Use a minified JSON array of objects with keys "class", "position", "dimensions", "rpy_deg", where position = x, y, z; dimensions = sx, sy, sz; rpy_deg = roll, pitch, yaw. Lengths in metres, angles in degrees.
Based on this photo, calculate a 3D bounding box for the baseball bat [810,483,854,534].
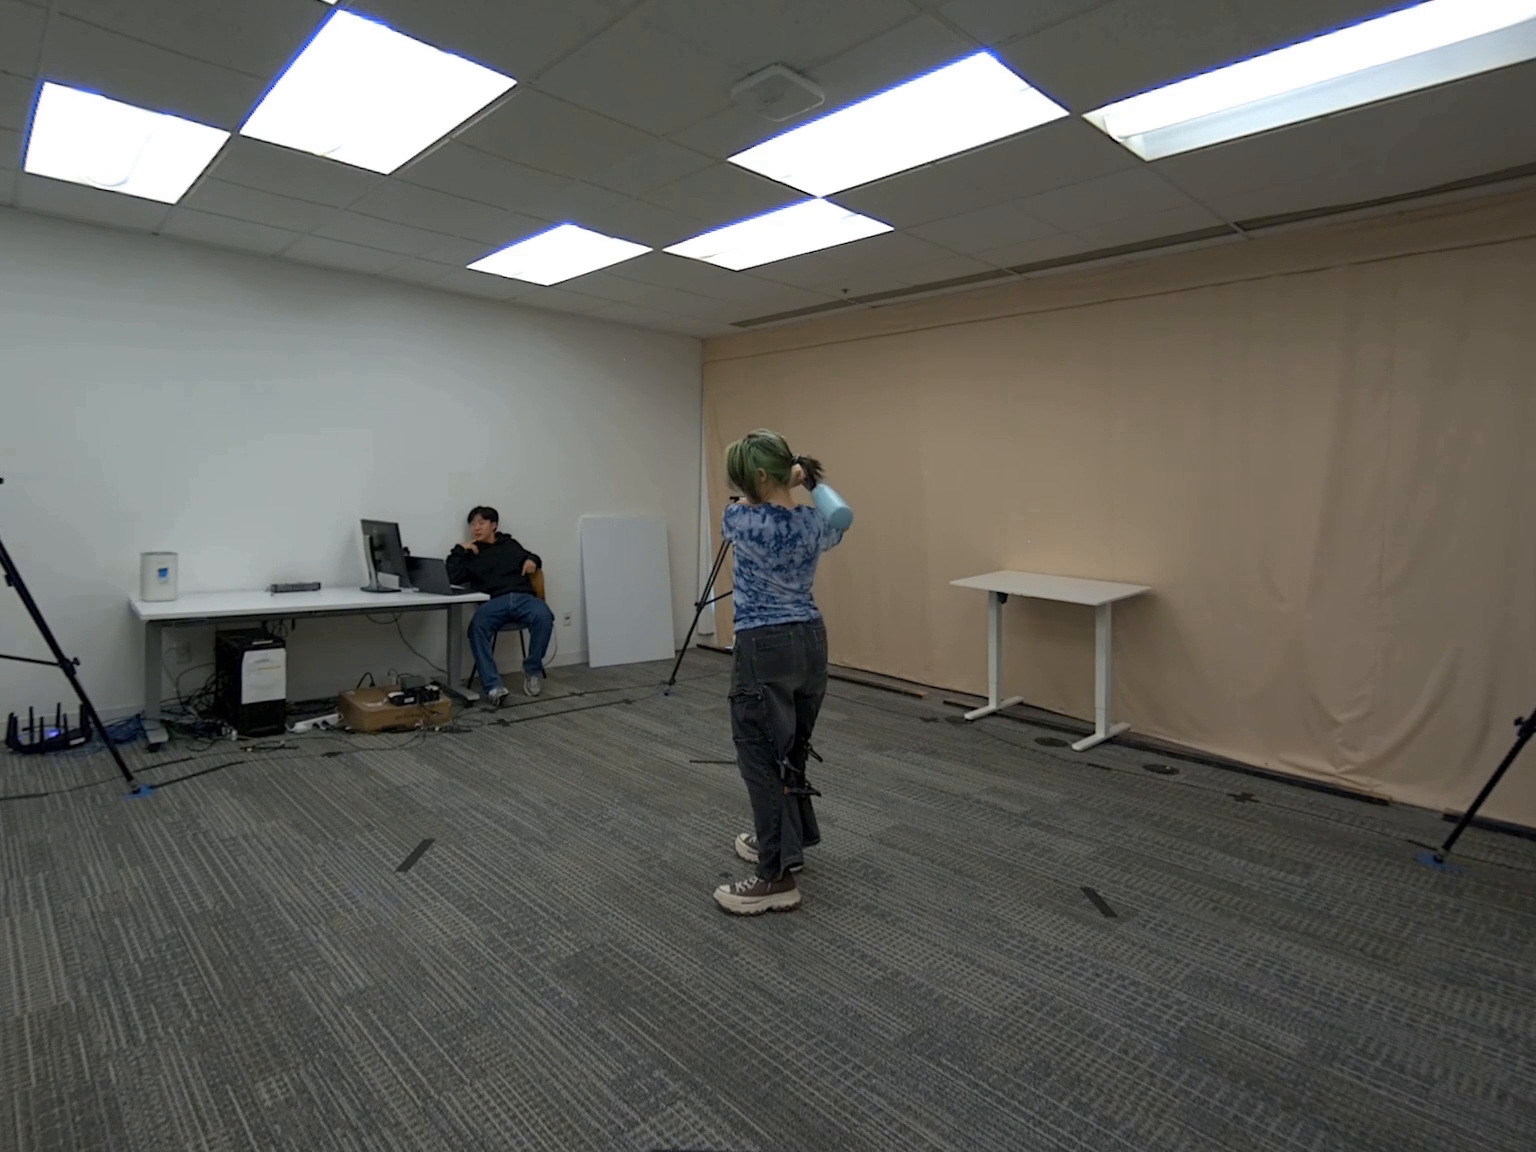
[{"class":"baseball bat","position":[0.175,-0.298,2.958],"dimensions":[0.088,0.088,0.555],"rpy_deg":[0,25,-10]}]
